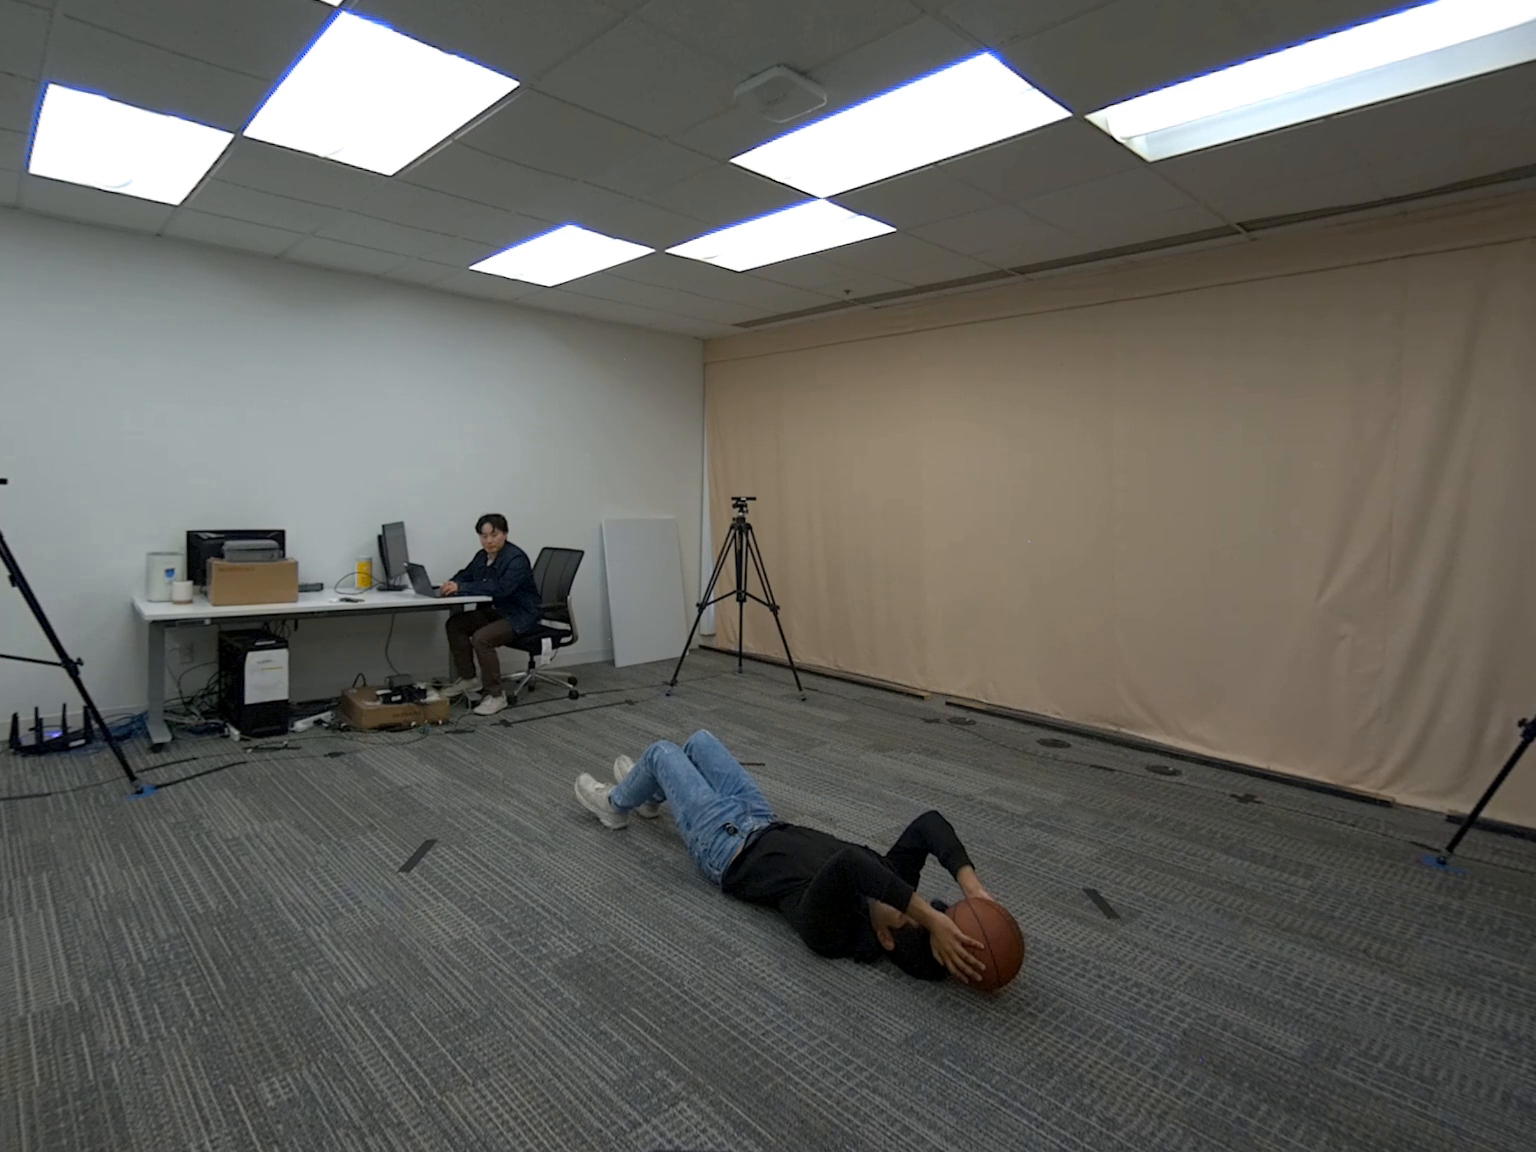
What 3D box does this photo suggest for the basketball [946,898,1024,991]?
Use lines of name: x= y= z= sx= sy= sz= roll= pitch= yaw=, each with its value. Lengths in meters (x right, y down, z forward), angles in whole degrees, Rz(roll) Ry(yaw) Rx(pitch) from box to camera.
basketball: x=0.588 y=1.040 z=2.386 sx=0.236 sy=0.235 sz=0.237 roll=1 pitch=4 yaw=-1
